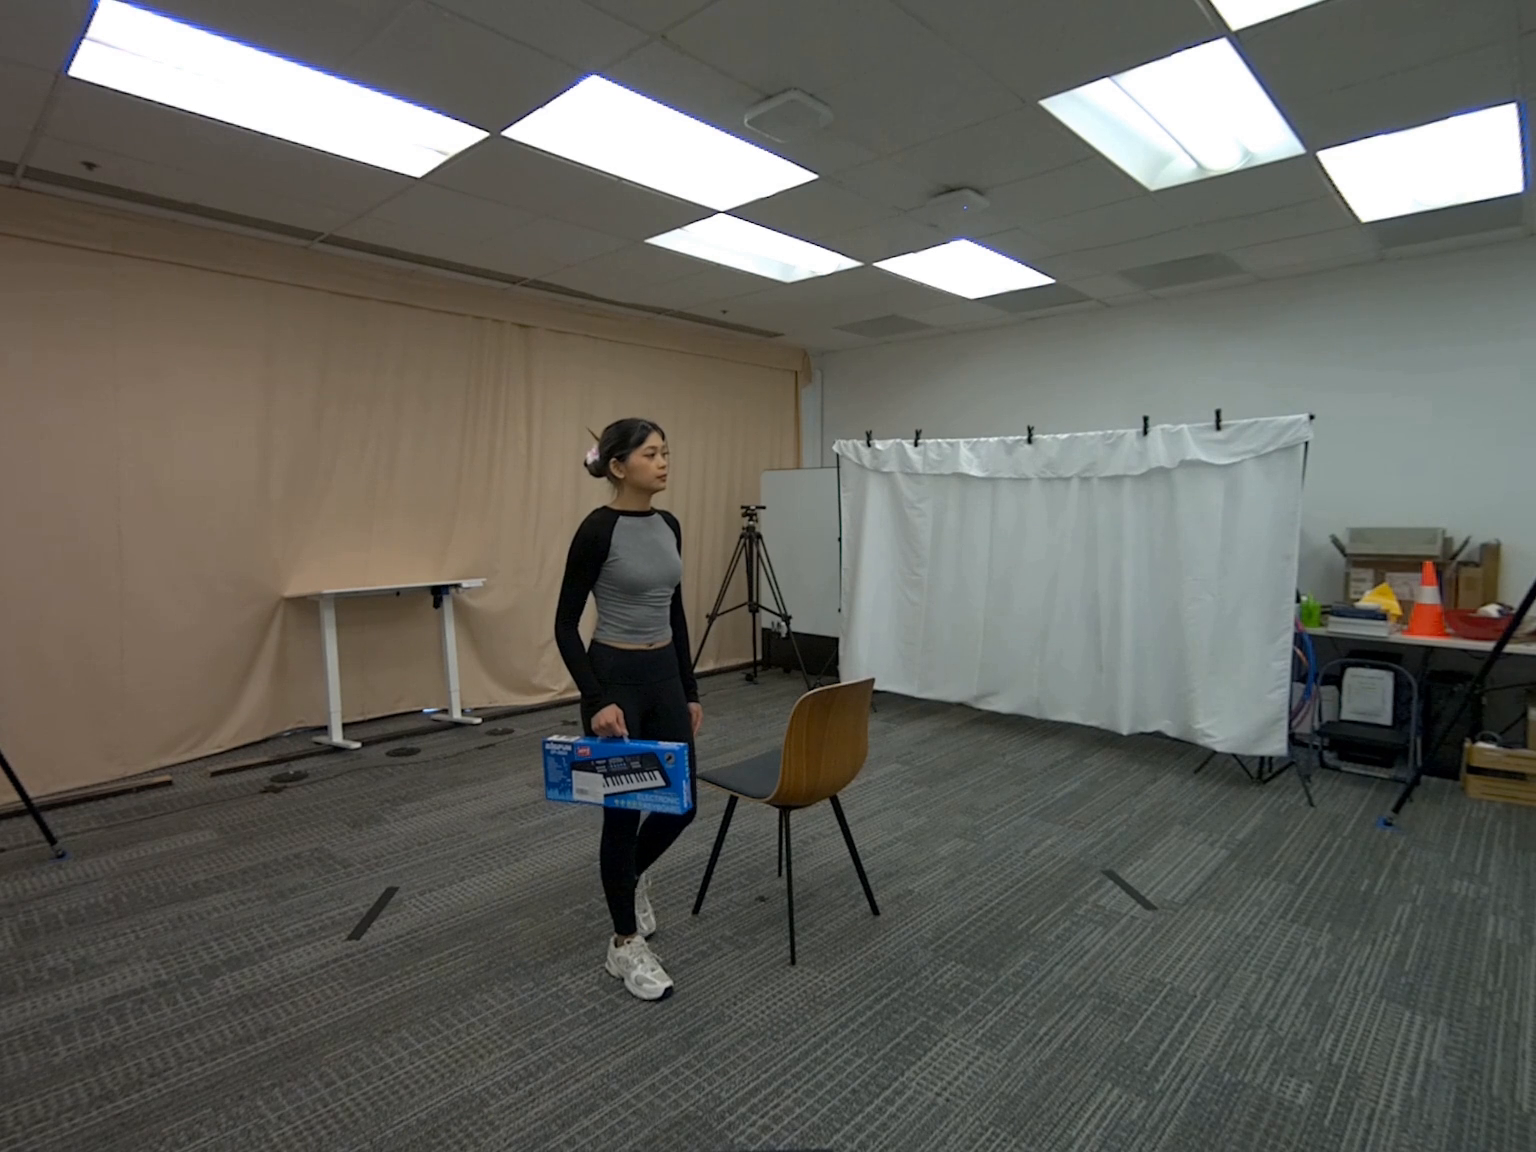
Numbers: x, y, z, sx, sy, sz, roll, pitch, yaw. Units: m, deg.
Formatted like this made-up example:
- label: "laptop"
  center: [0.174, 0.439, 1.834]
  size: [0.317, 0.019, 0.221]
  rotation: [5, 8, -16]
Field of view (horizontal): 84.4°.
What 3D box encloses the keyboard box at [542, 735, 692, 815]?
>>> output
- label: "keyboard box"
  center: [-0.418, 0.533, 2.300]
  size: [0.448, 0.175, 0.058]
  rotation: [-2, 3, 26]
